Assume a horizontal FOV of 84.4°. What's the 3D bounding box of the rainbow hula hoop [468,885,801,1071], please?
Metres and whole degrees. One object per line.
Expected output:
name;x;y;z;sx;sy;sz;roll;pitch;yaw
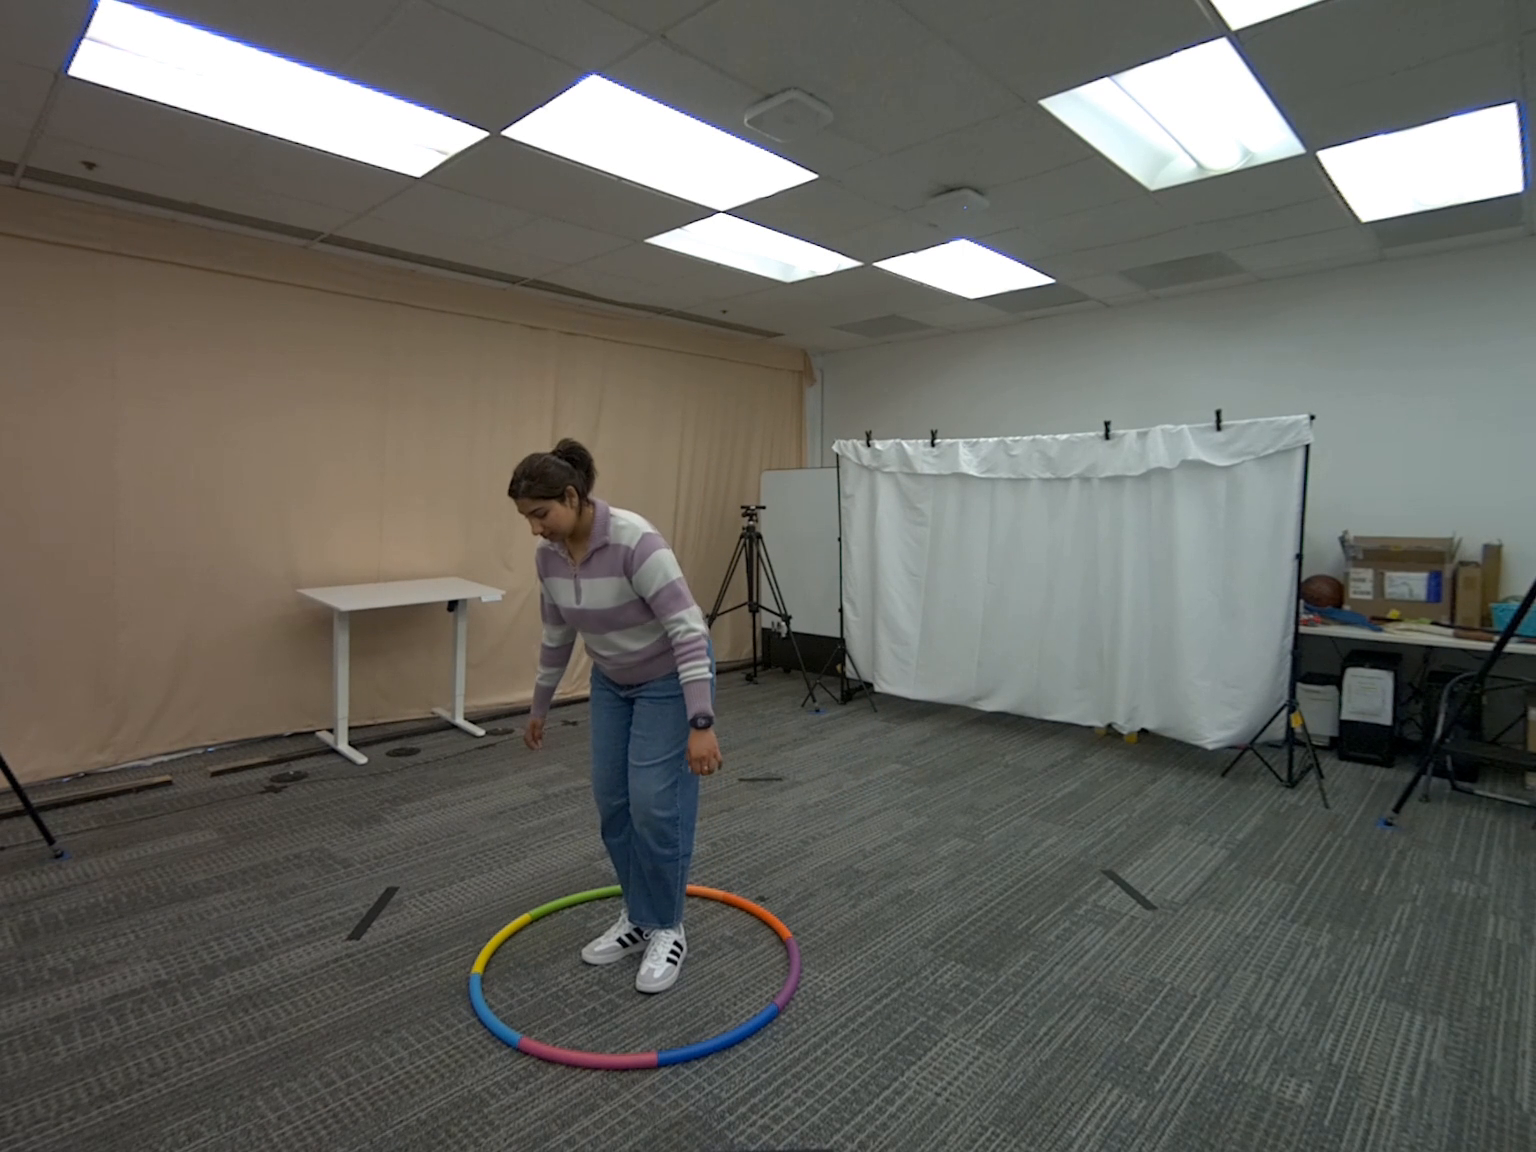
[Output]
rainbow hula hoop;-0.393;1.153;2.563;0.978;0.035;0.982;-1;5;-2
